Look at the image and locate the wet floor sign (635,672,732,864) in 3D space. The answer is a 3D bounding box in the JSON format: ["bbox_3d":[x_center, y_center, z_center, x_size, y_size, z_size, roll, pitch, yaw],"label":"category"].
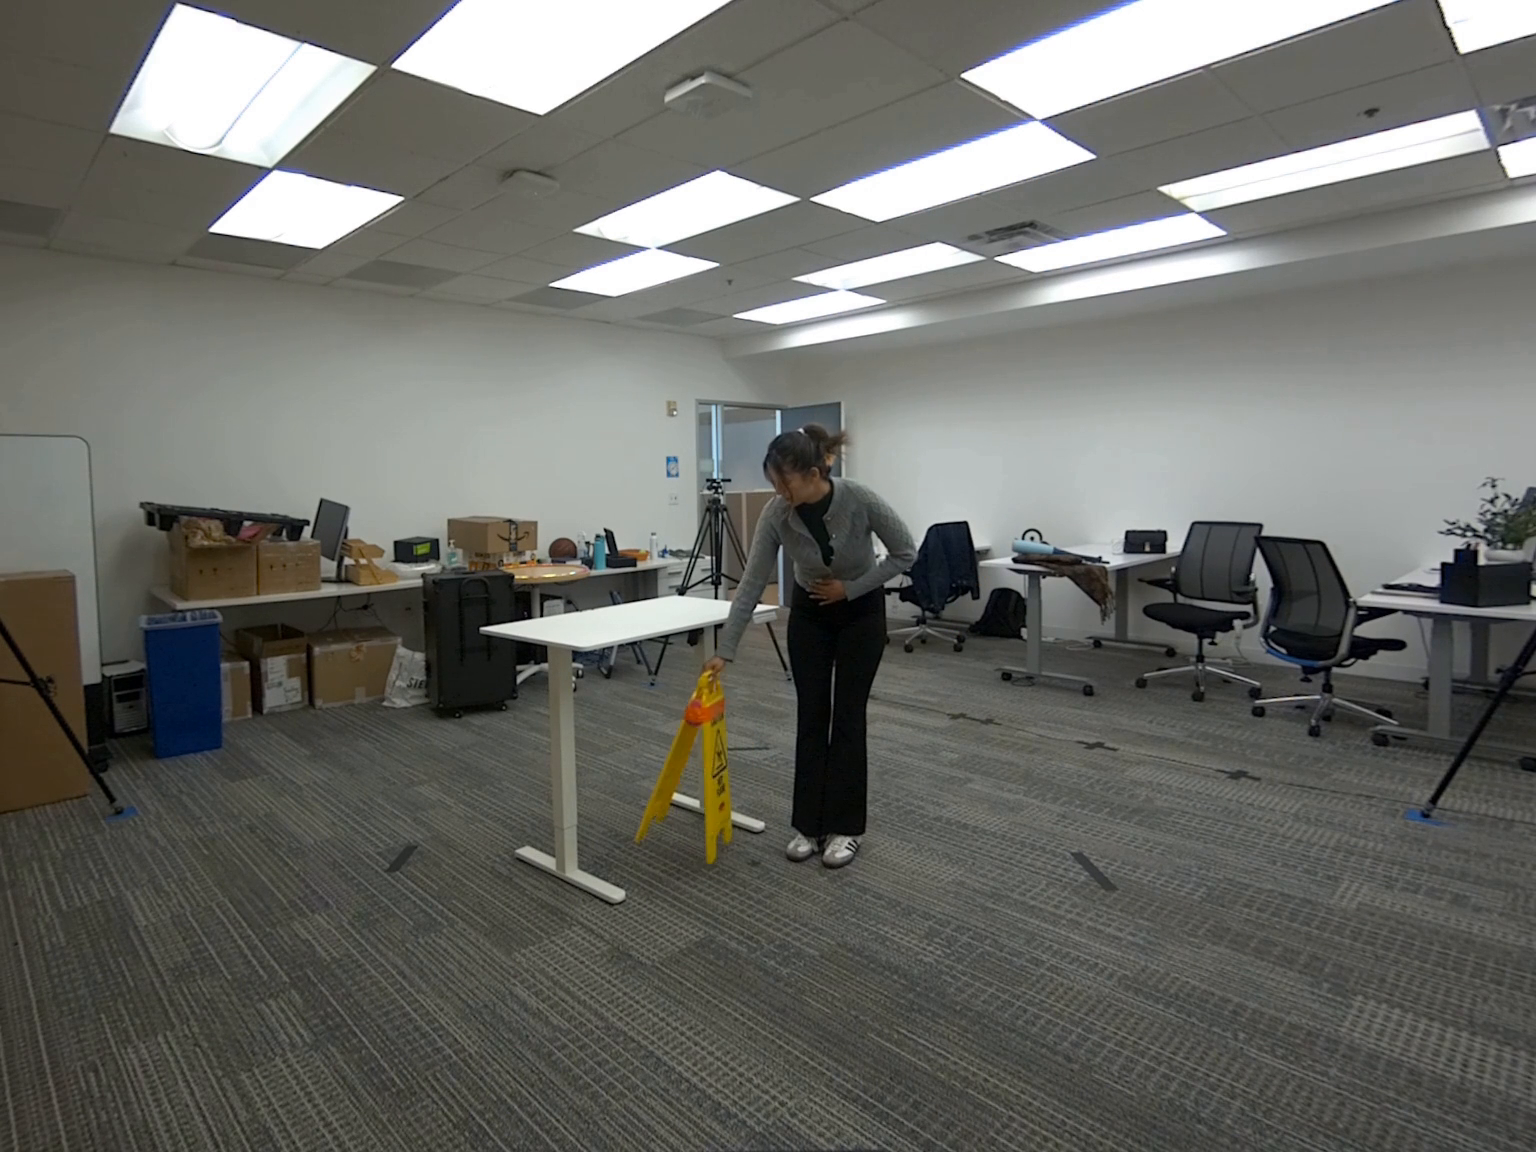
[{"bbox_3d":[-0.251,0.657,3.132,0.295,0.645,0.278,9,2,15],"label":"wet floor sign"}]
